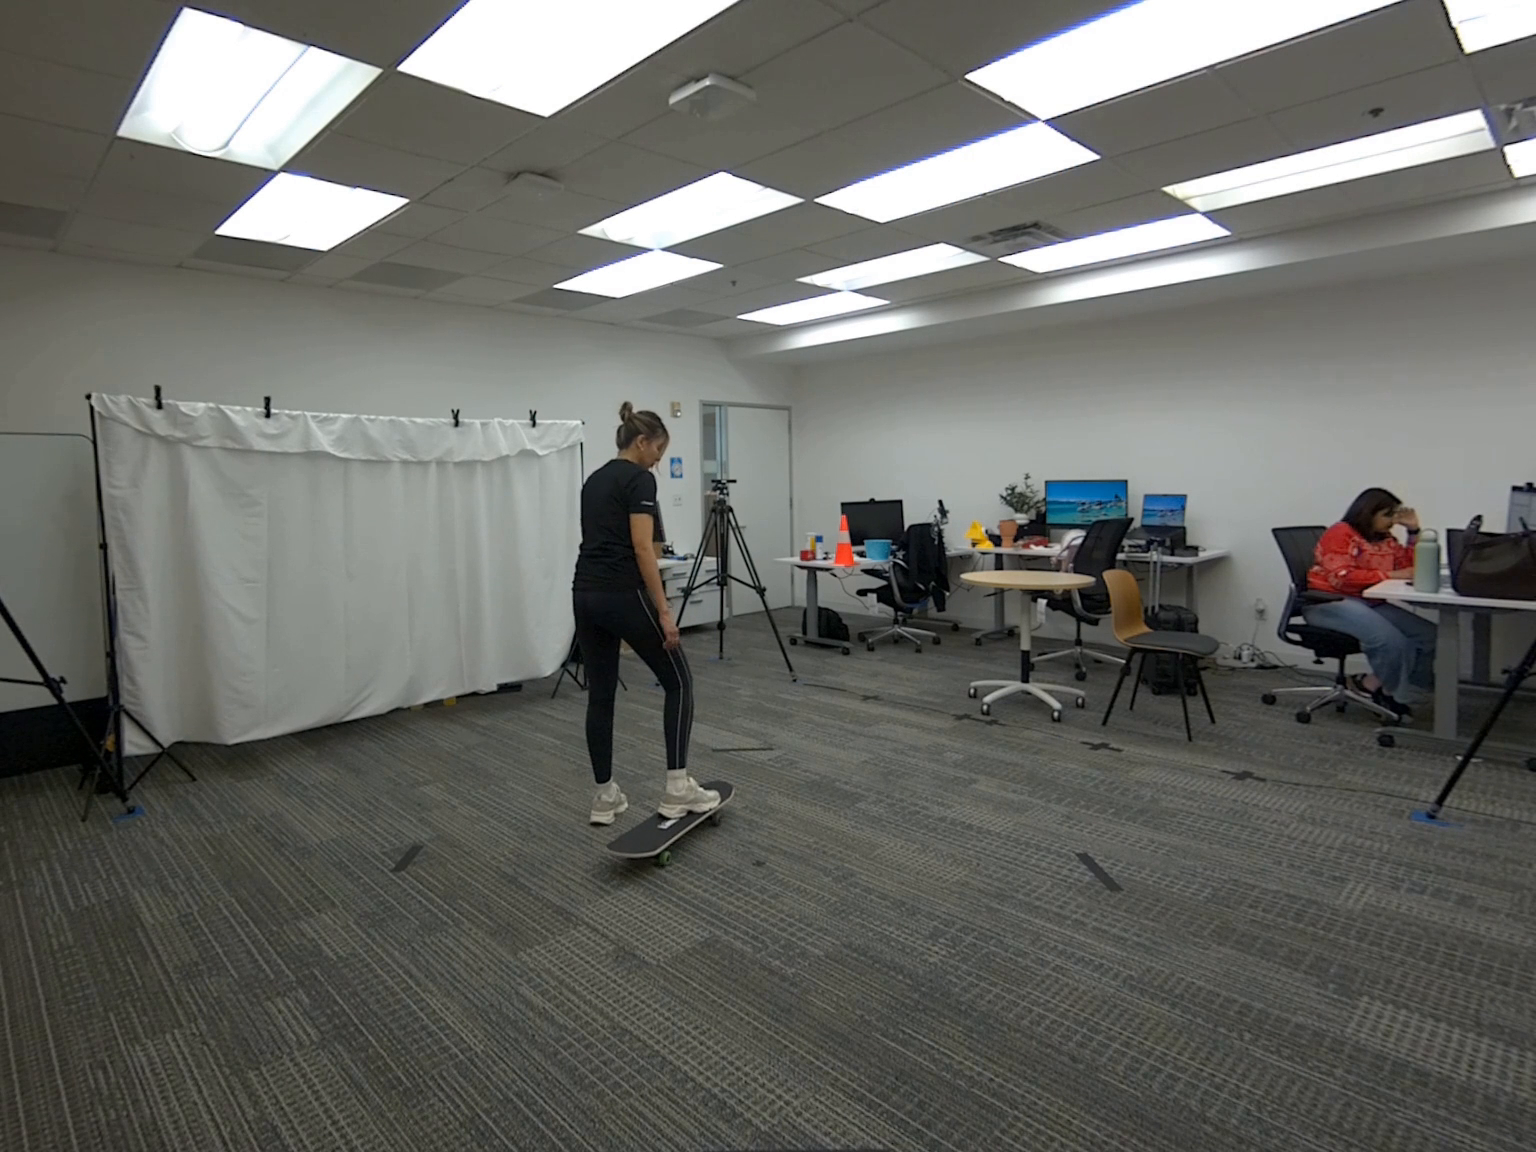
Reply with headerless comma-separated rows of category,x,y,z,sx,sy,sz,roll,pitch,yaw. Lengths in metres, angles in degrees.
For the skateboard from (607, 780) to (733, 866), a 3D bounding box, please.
skateboard,-0.359,0.976,3.322,0.198,0.110,0.770,1,6,25
